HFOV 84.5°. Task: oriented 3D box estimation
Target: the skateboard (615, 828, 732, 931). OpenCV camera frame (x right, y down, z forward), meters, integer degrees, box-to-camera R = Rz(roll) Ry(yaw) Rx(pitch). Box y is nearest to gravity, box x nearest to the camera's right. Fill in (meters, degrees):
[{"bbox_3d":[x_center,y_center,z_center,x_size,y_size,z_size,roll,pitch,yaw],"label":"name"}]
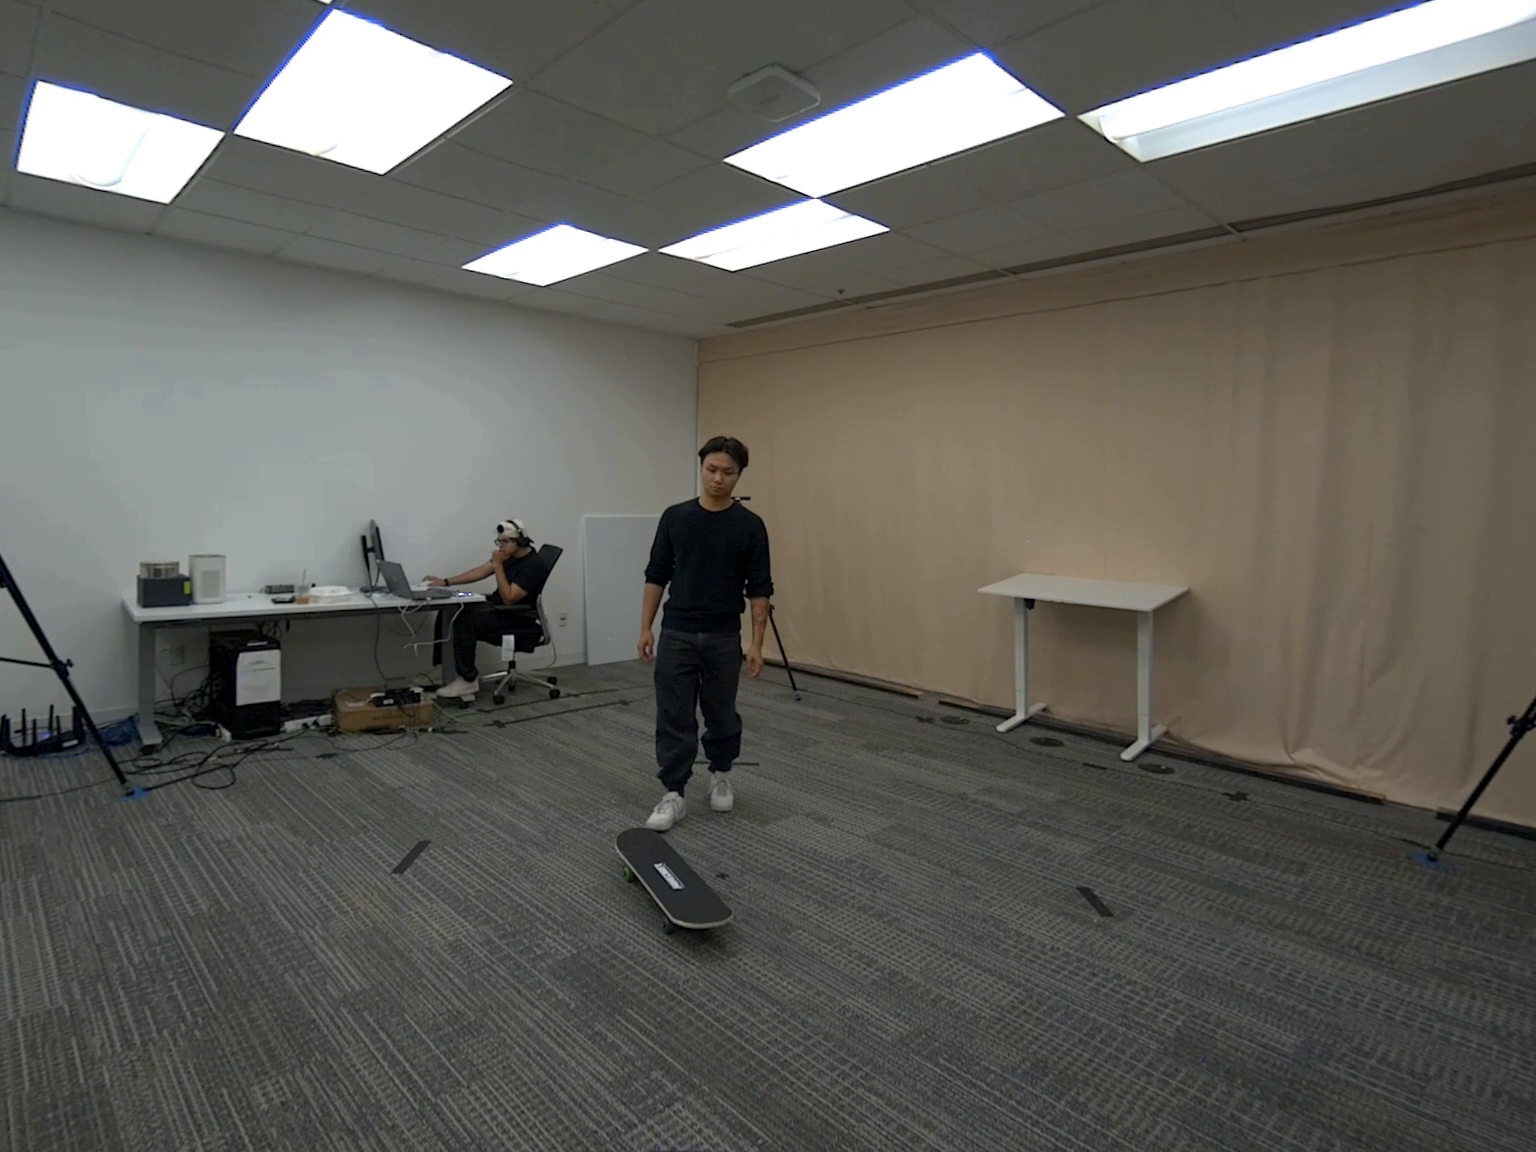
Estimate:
[{"bbox_3d":[-0.358,1.068,2.902,0.190,0.110,0.802,-2,7,-26],"label":"skateboard"}]
